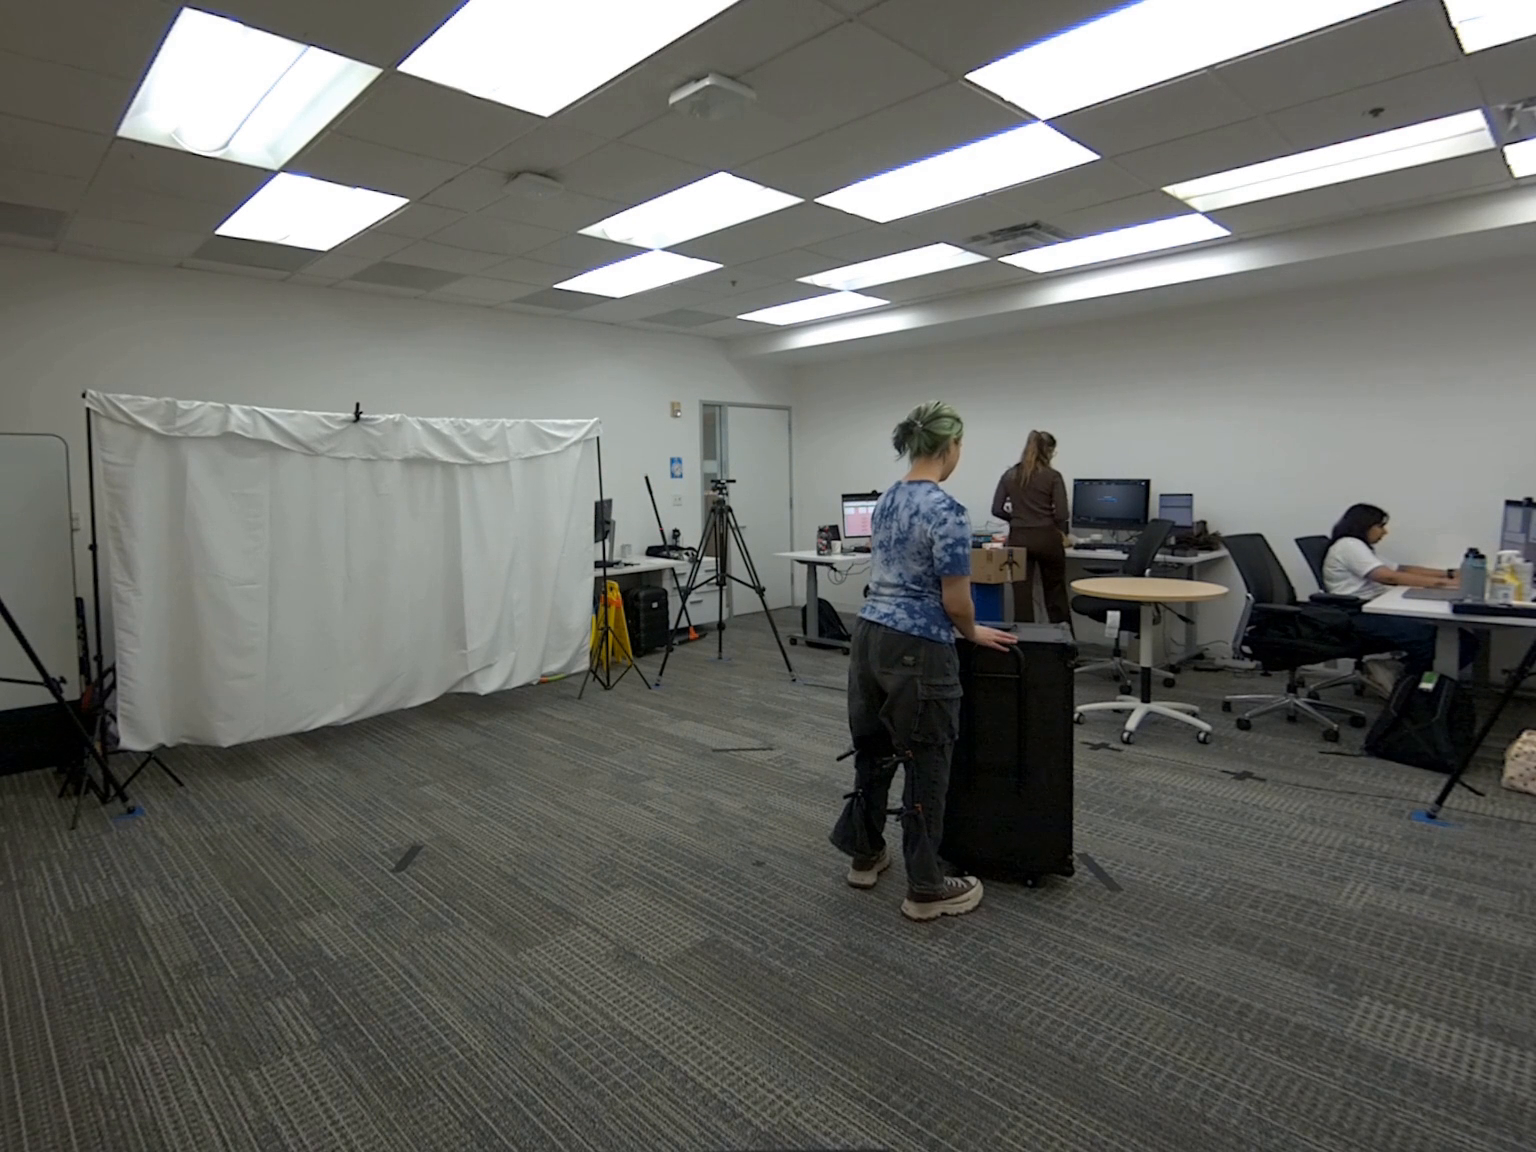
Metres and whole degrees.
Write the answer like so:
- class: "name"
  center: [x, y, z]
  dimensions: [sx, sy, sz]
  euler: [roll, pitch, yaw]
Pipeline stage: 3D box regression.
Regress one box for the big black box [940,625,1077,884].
- class: "big black box"
  center: [0.817, 0.618, 3.012]
  dimensions: [0.532, 0.858, 0.390]
  euler: [2, 5, 21]
